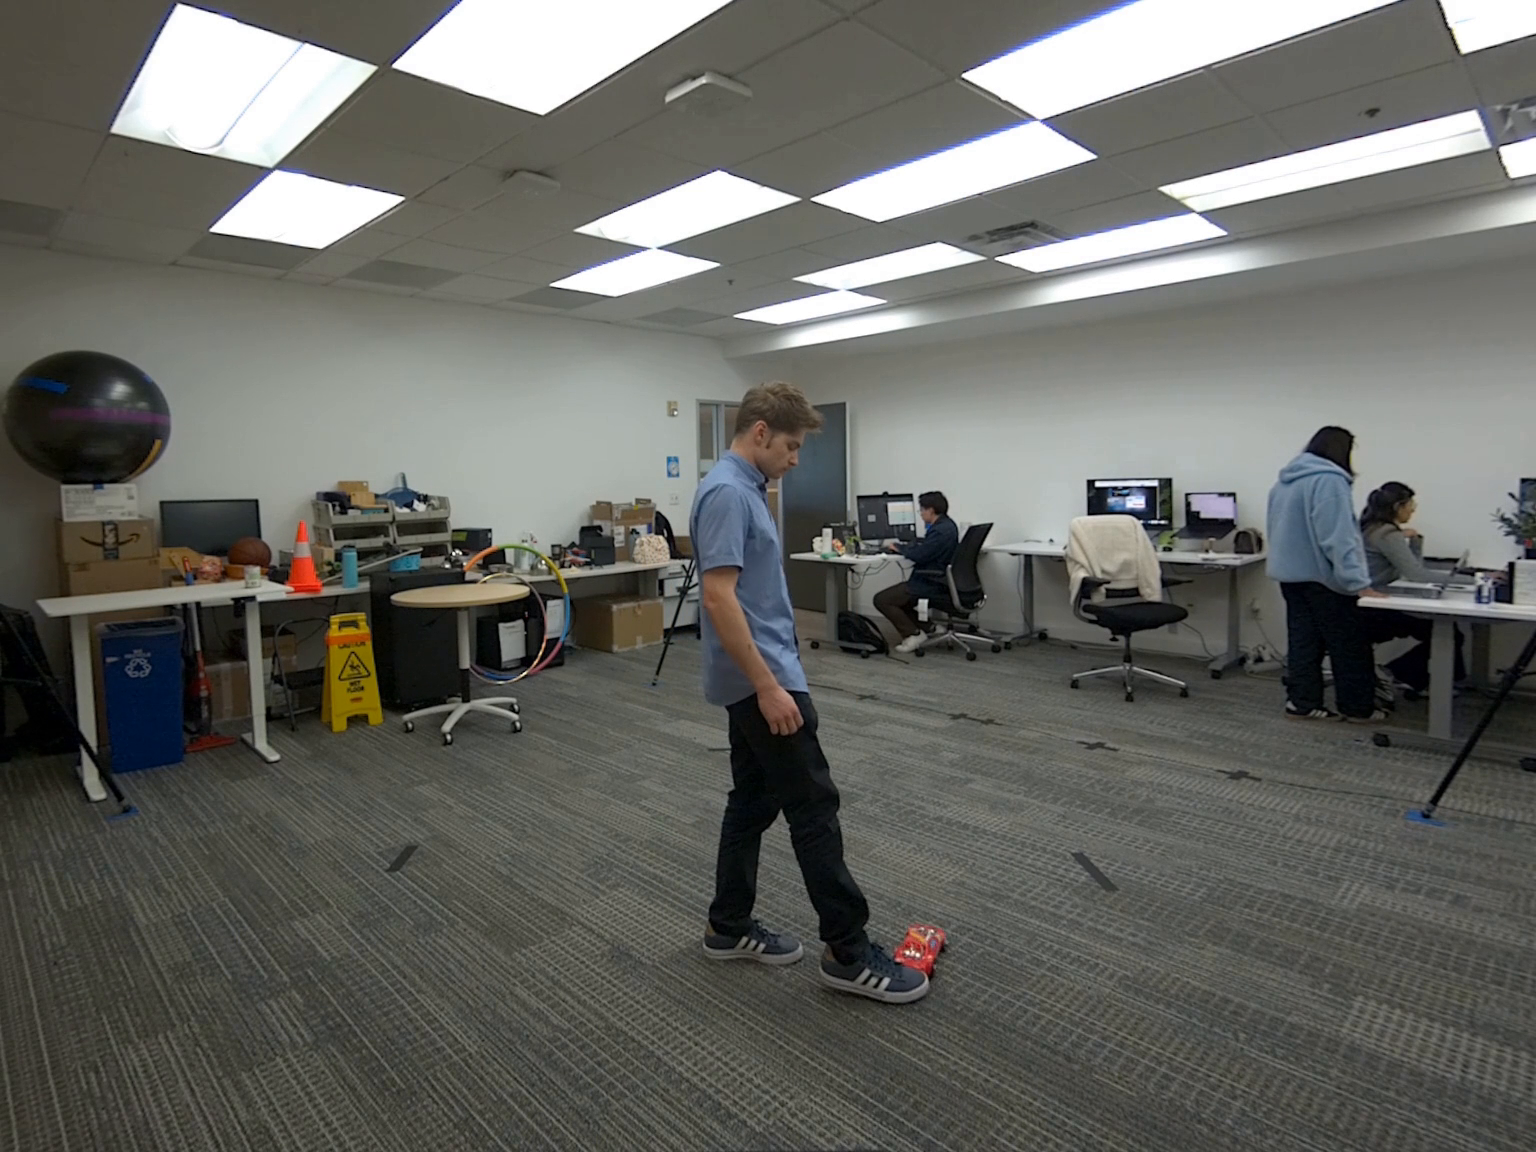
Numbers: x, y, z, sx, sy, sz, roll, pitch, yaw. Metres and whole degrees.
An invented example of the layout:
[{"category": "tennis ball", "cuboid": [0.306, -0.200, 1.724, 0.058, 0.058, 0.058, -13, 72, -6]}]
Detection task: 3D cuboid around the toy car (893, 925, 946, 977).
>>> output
[{"category": "toy car", "cuboid": [0.438, 1.083, 2.450, 0.133, 0.083, 0.248, 4, -3, 25]}]
